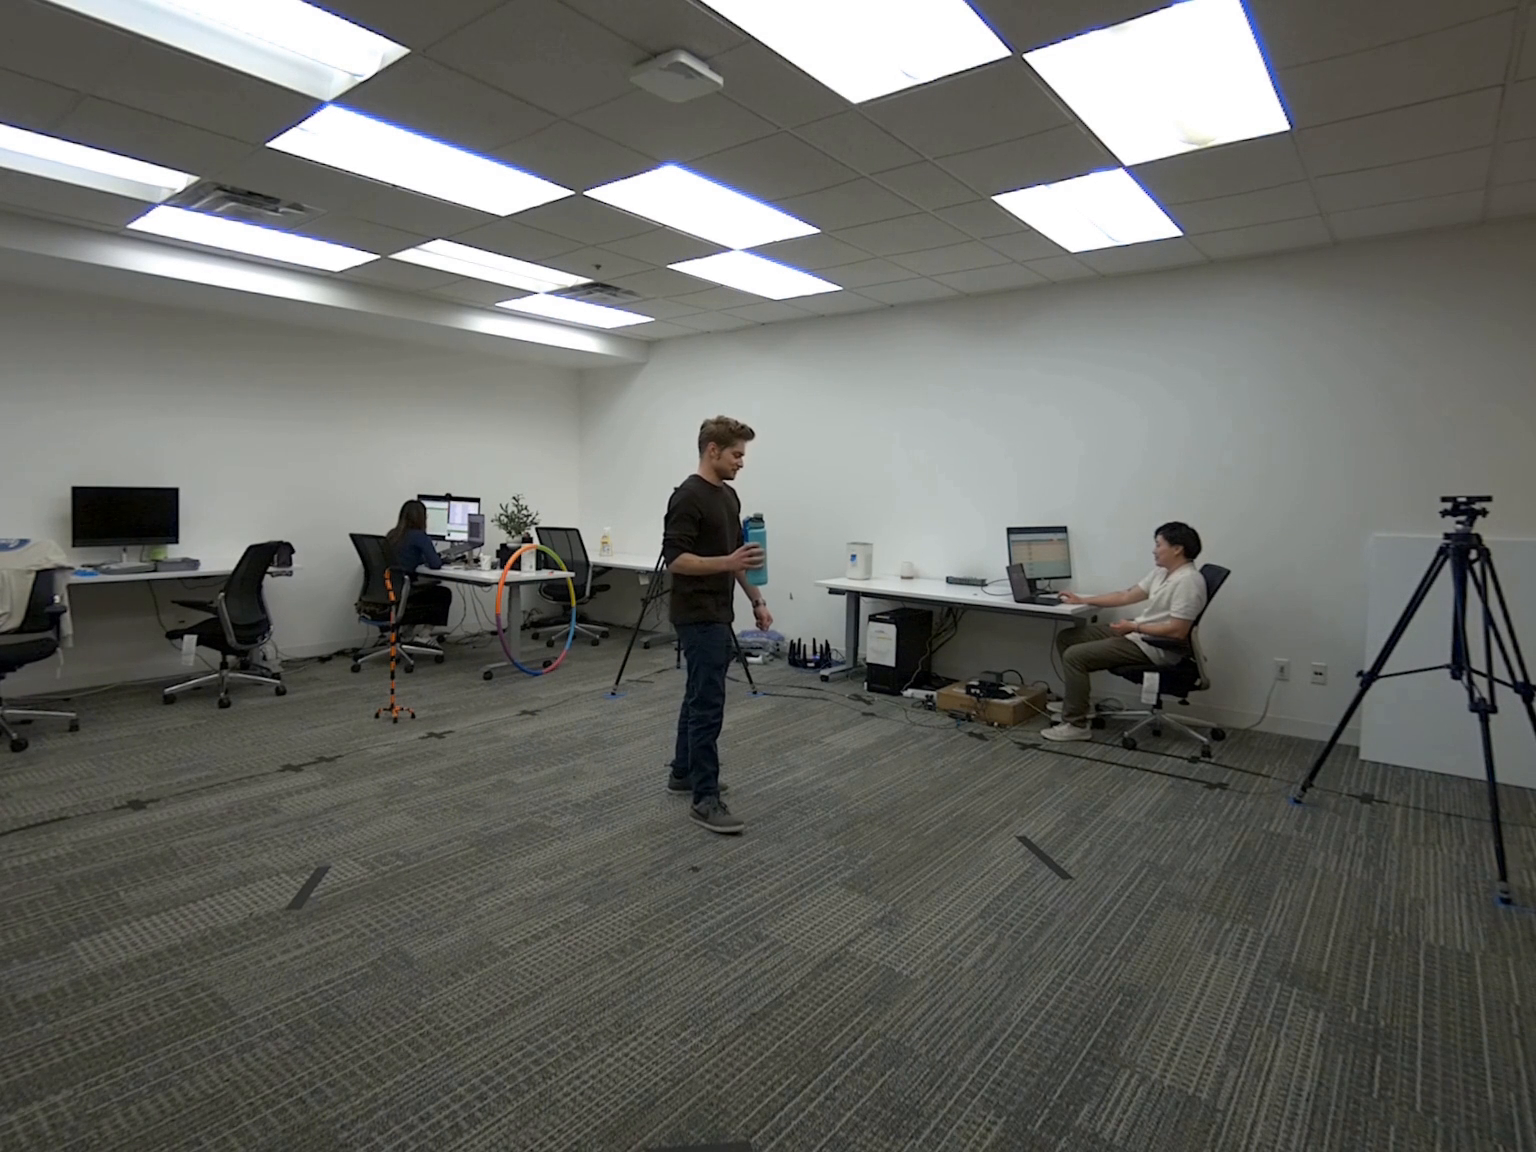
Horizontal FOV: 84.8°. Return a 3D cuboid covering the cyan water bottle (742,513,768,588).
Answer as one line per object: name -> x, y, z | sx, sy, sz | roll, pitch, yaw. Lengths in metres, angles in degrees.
cyan water bottle -> -0.061, -0.115, 3.388 | 0.092, 0.280, 0.093 | -4, 11, -1
